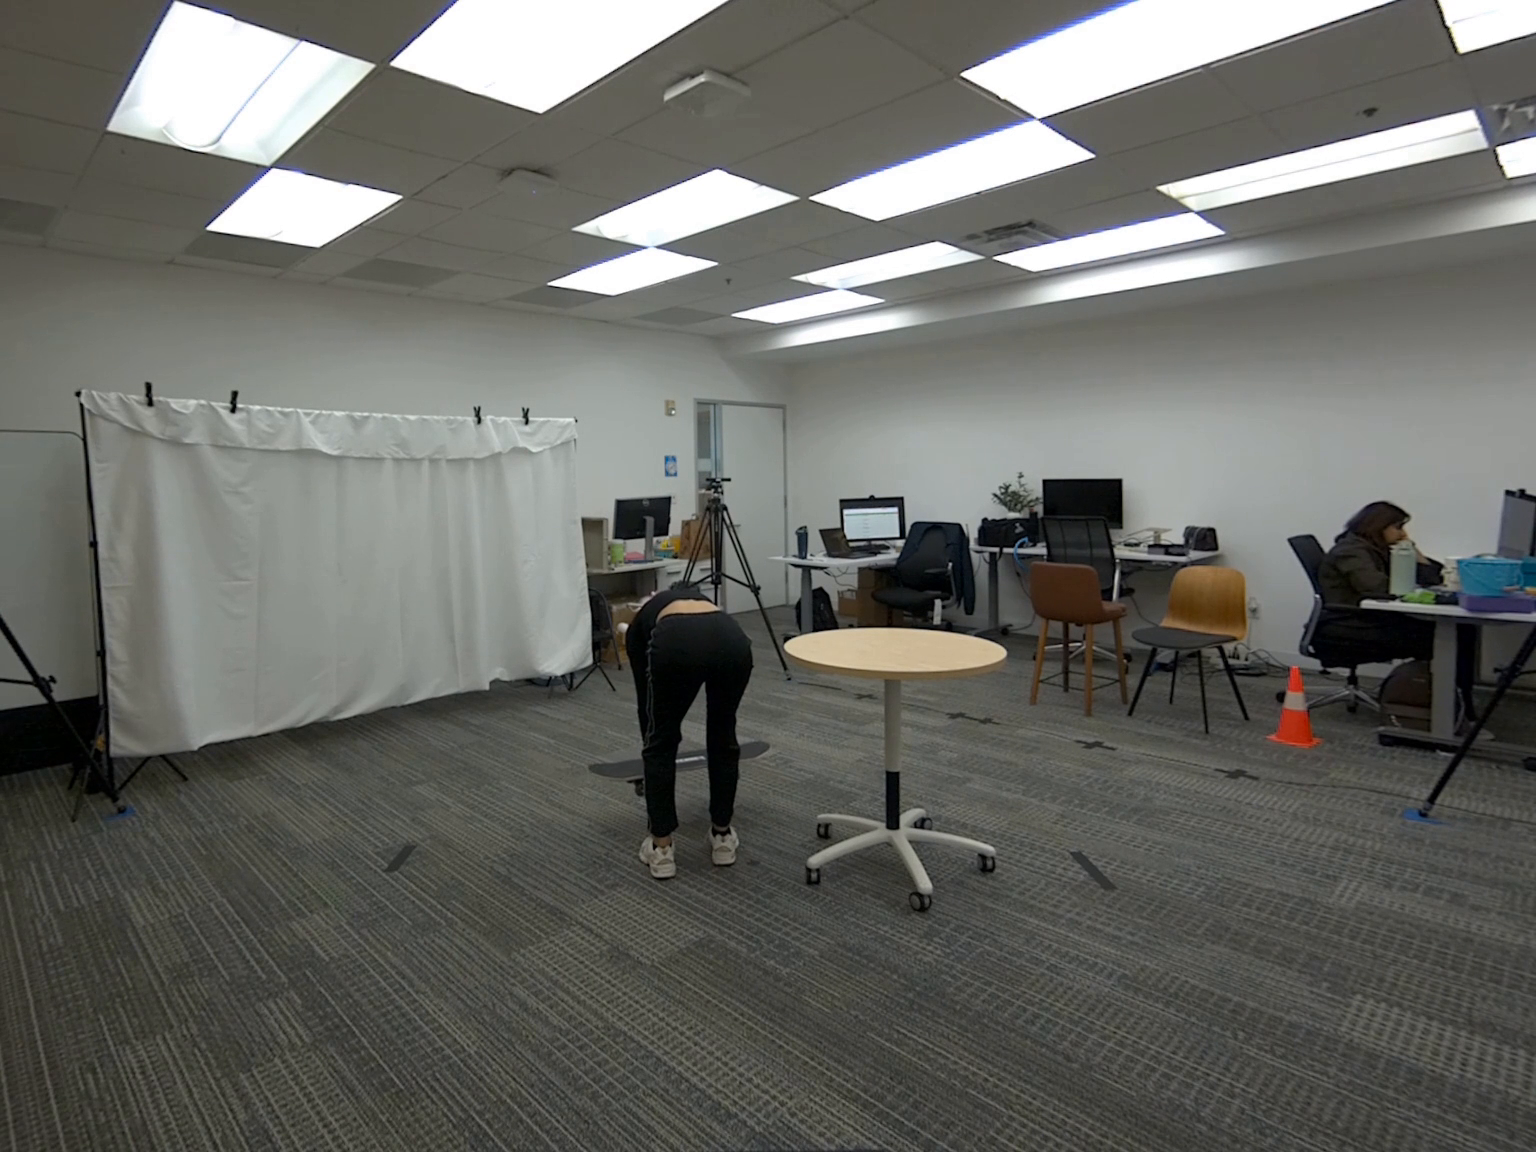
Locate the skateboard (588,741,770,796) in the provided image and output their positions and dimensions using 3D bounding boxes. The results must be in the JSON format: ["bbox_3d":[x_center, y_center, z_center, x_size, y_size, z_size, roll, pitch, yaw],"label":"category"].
[{"bbox_3d":[-0.353,0.789,3.507,0.771,0.110,0.198,-4,7,-21],"label":"skateboard"}]
